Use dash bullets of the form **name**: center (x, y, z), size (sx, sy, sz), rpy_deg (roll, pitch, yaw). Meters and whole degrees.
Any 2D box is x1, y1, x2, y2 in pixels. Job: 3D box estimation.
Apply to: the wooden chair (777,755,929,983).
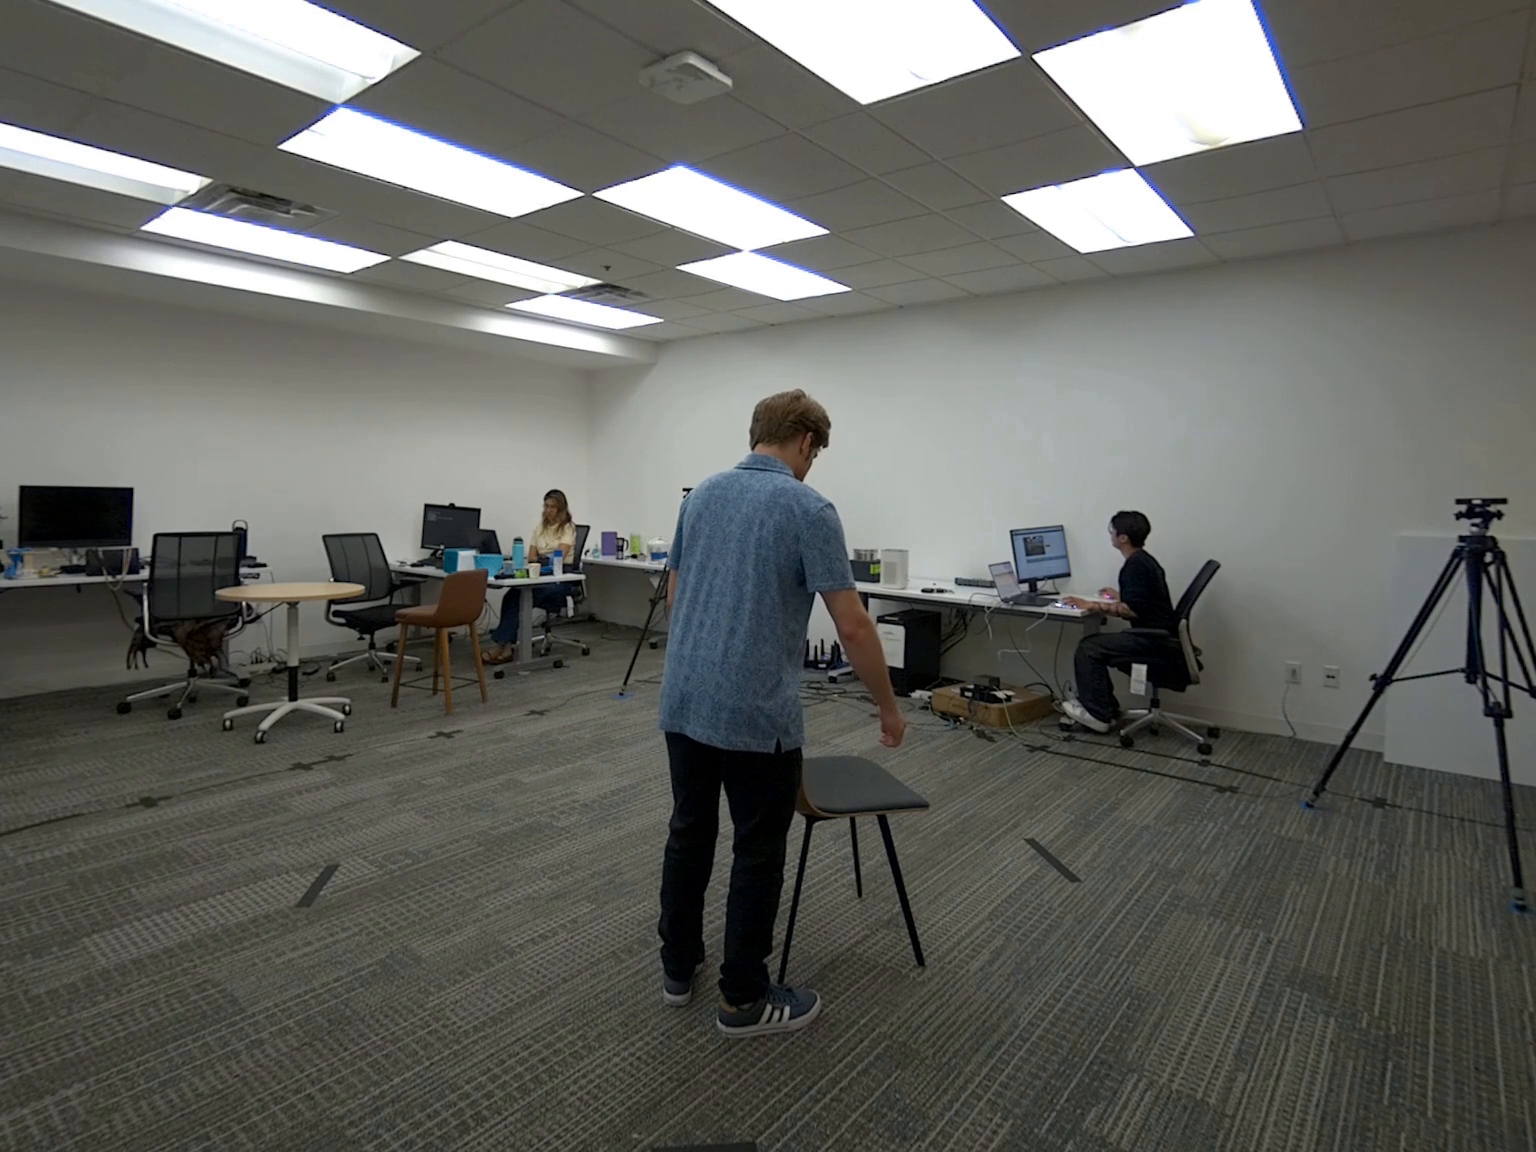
- **wooden chair**: center (0.191, 0.694, 2.644), size (0.515, 0.874, 0.488), rpy_deg (-4, 4, -17)
